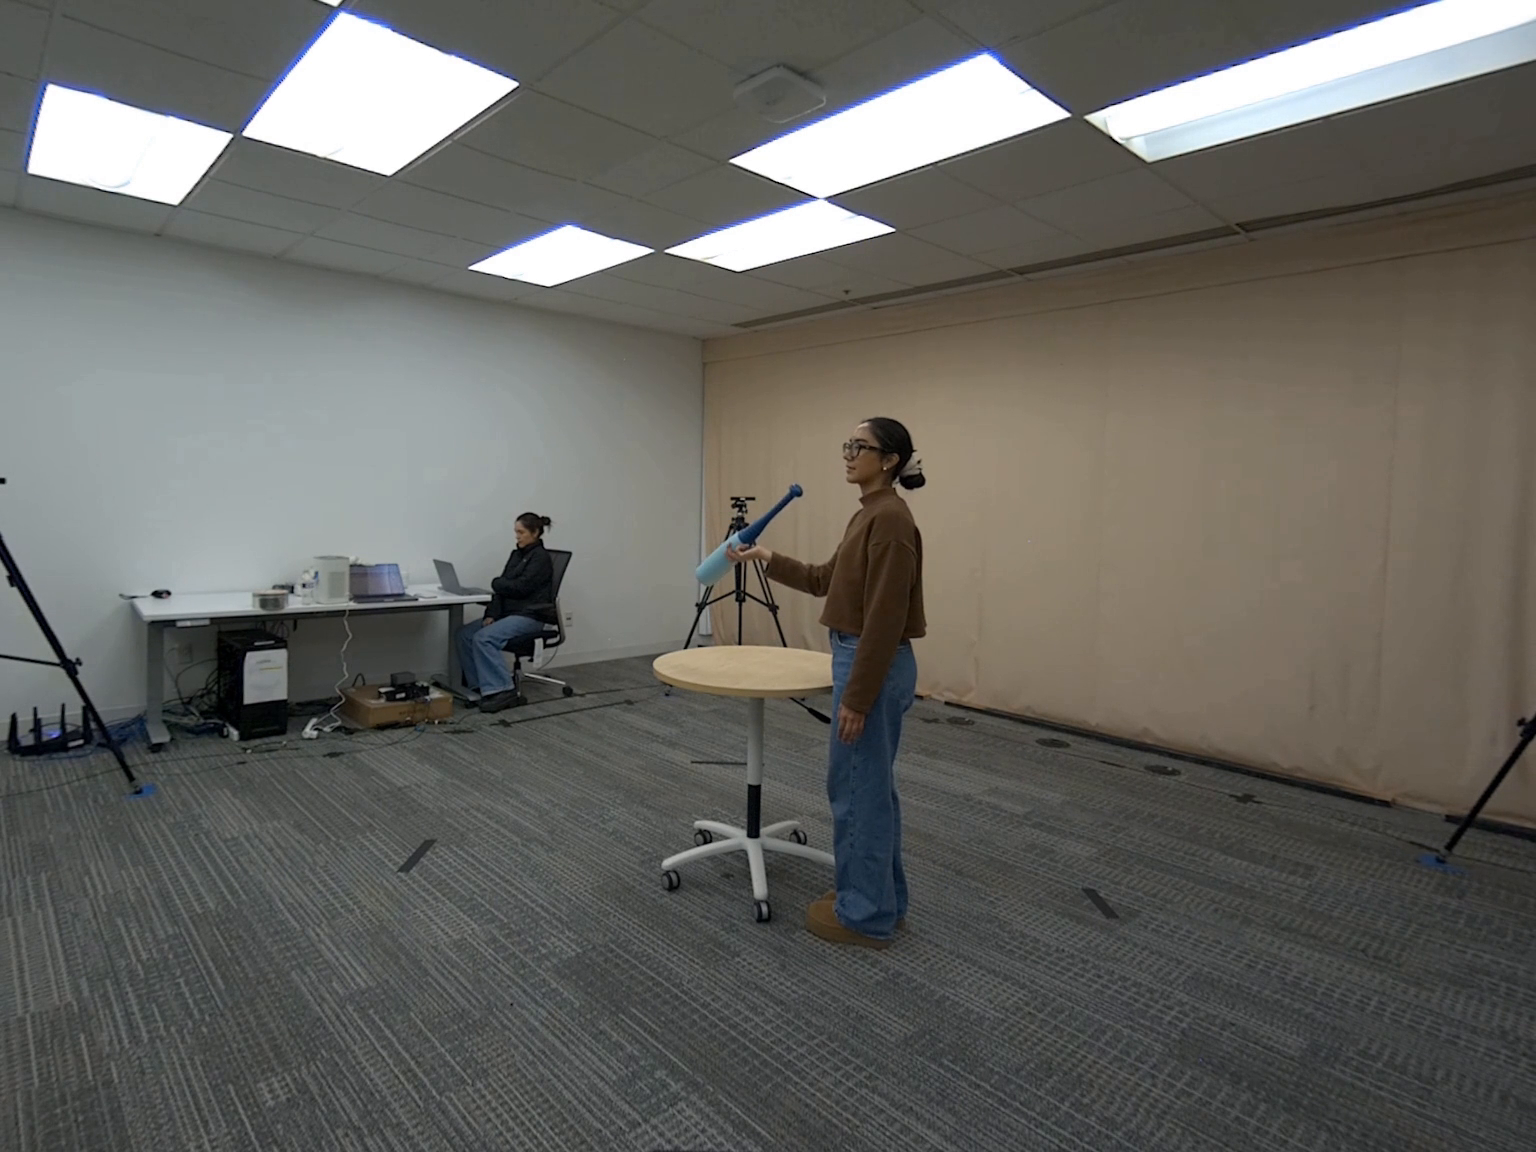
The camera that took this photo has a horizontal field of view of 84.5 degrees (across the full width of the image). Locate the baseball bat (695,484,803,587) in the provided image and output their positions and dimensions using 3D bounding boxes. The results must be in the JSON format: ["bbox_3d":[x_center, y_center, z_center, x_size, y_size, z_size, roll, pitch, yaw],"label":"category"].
[{"bbox_3d":[-0.068,-0.138,2.934,0.087,0.091,0.544,-3,-31,-50],"label":"baseball bat"}]
